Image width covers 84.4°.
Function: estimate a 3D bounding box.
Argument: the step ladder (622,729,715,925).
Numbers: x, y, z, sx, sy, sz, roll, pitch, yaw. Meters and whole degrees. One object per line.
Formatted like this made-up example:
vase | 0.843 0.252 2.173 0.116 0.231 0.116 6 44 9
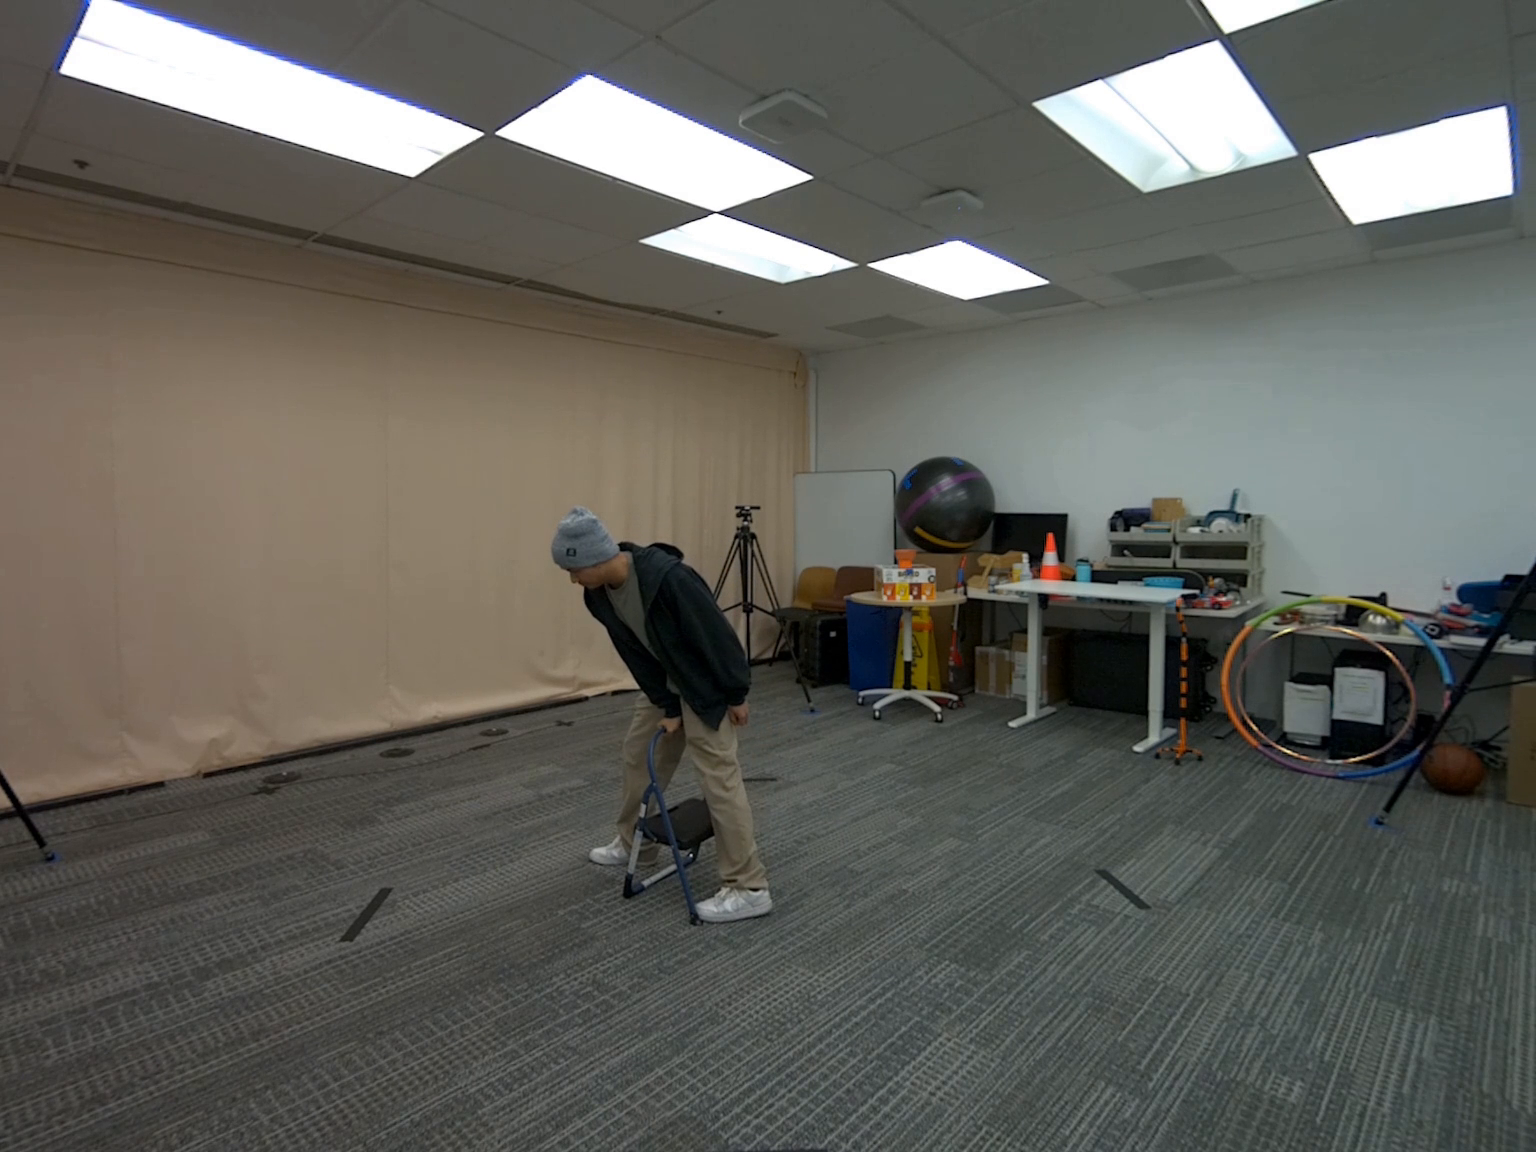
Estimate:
step ladder | -0.265 0.837 3.046 0.360 0.605 0.419 1 4 33
